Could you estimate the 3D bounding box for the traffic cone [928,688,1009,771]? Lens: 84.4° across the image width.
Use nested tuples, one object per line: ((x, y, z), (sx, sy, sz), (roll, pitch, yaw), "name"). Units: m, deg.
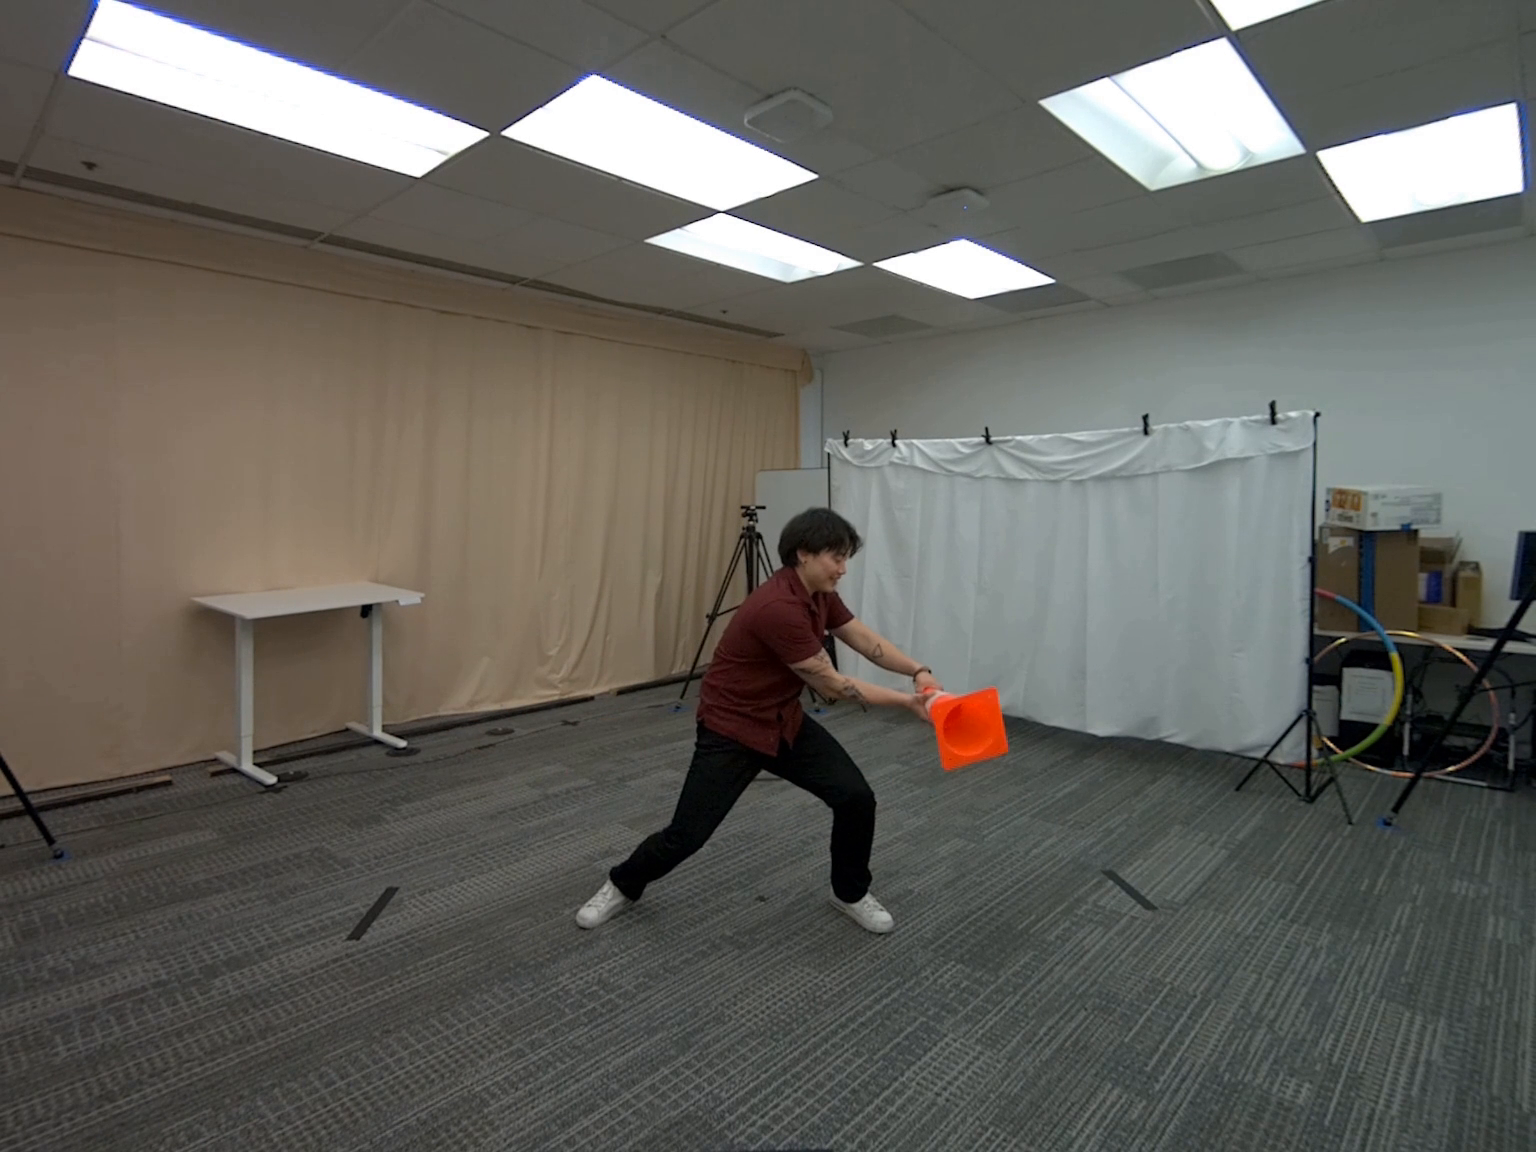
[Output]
((0.530, 0.397, 2.546), (0.202, 0.203, 0.389), (-14, 10, -9), "traffic cone")
